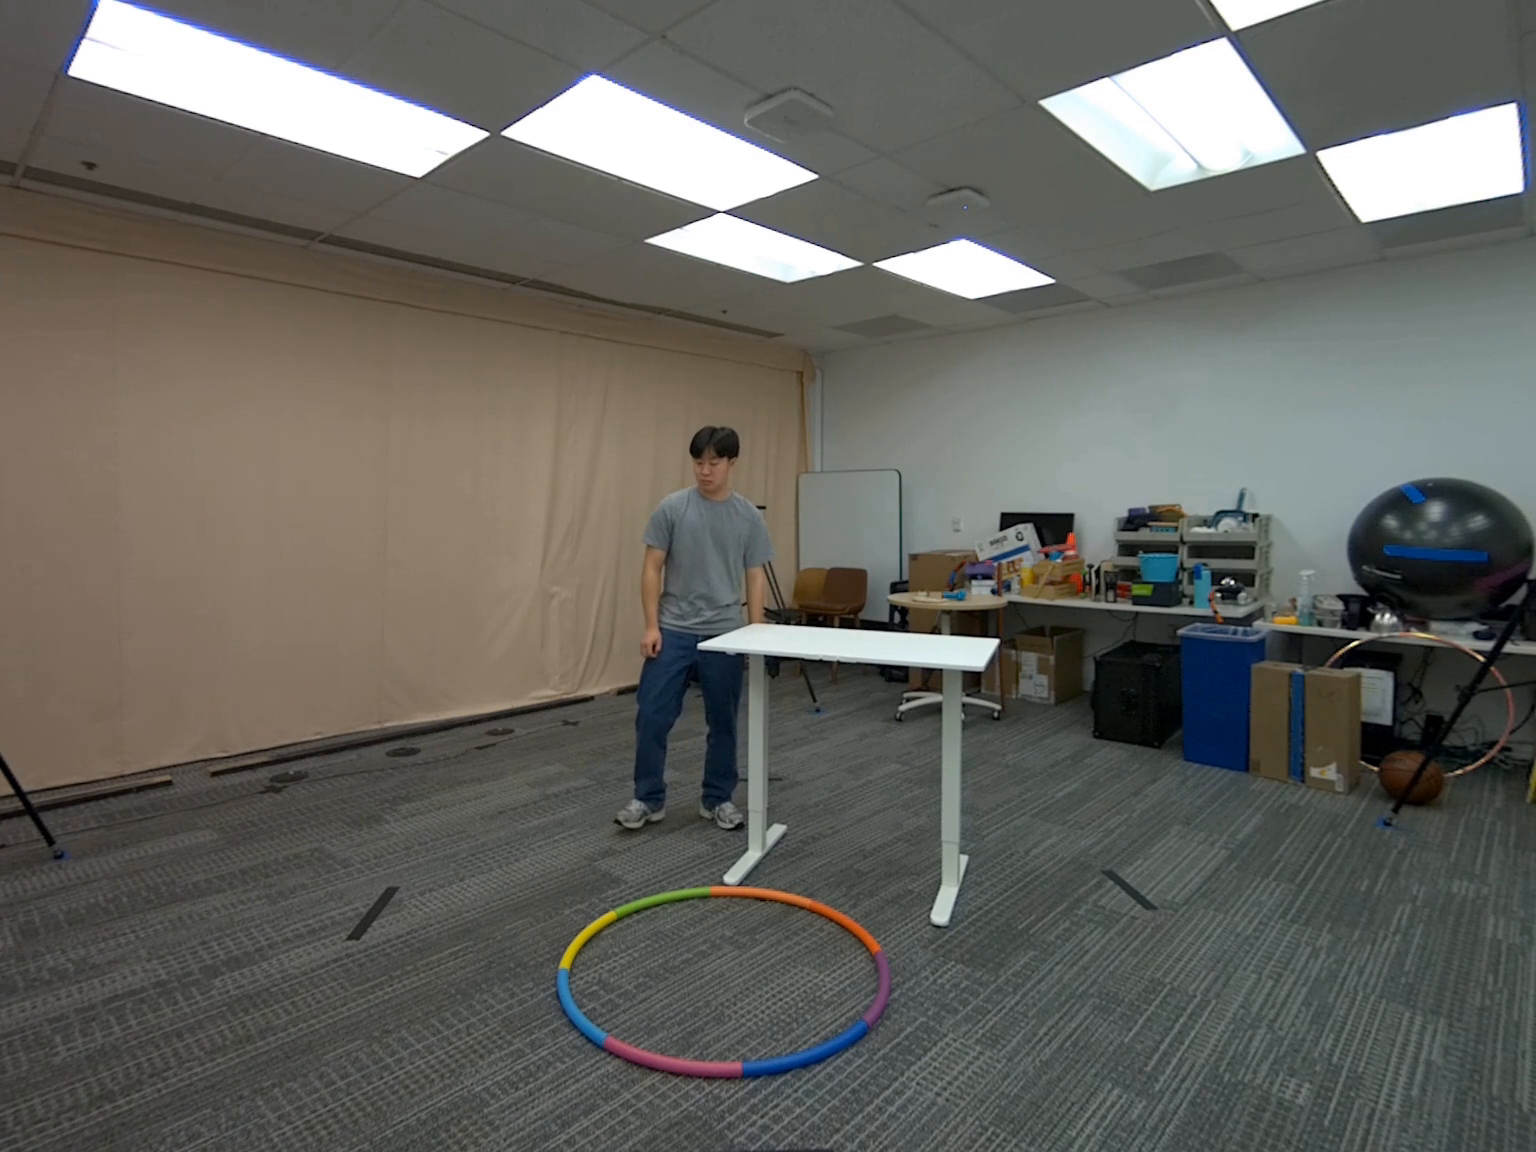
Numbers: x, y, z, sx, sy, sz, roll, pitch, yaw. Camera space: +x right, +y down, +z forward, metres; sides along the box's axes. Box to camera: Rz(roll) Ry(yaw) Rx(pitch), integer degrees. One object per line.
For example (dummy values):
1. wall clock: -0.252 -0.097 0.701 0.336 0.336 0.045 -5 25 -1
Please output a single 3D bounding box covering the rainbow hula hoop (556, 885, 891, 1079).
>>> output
1. rainbow hula hoop: -0.130 1.154 2.537 0.978 0.035 0.982 0 4 -2
